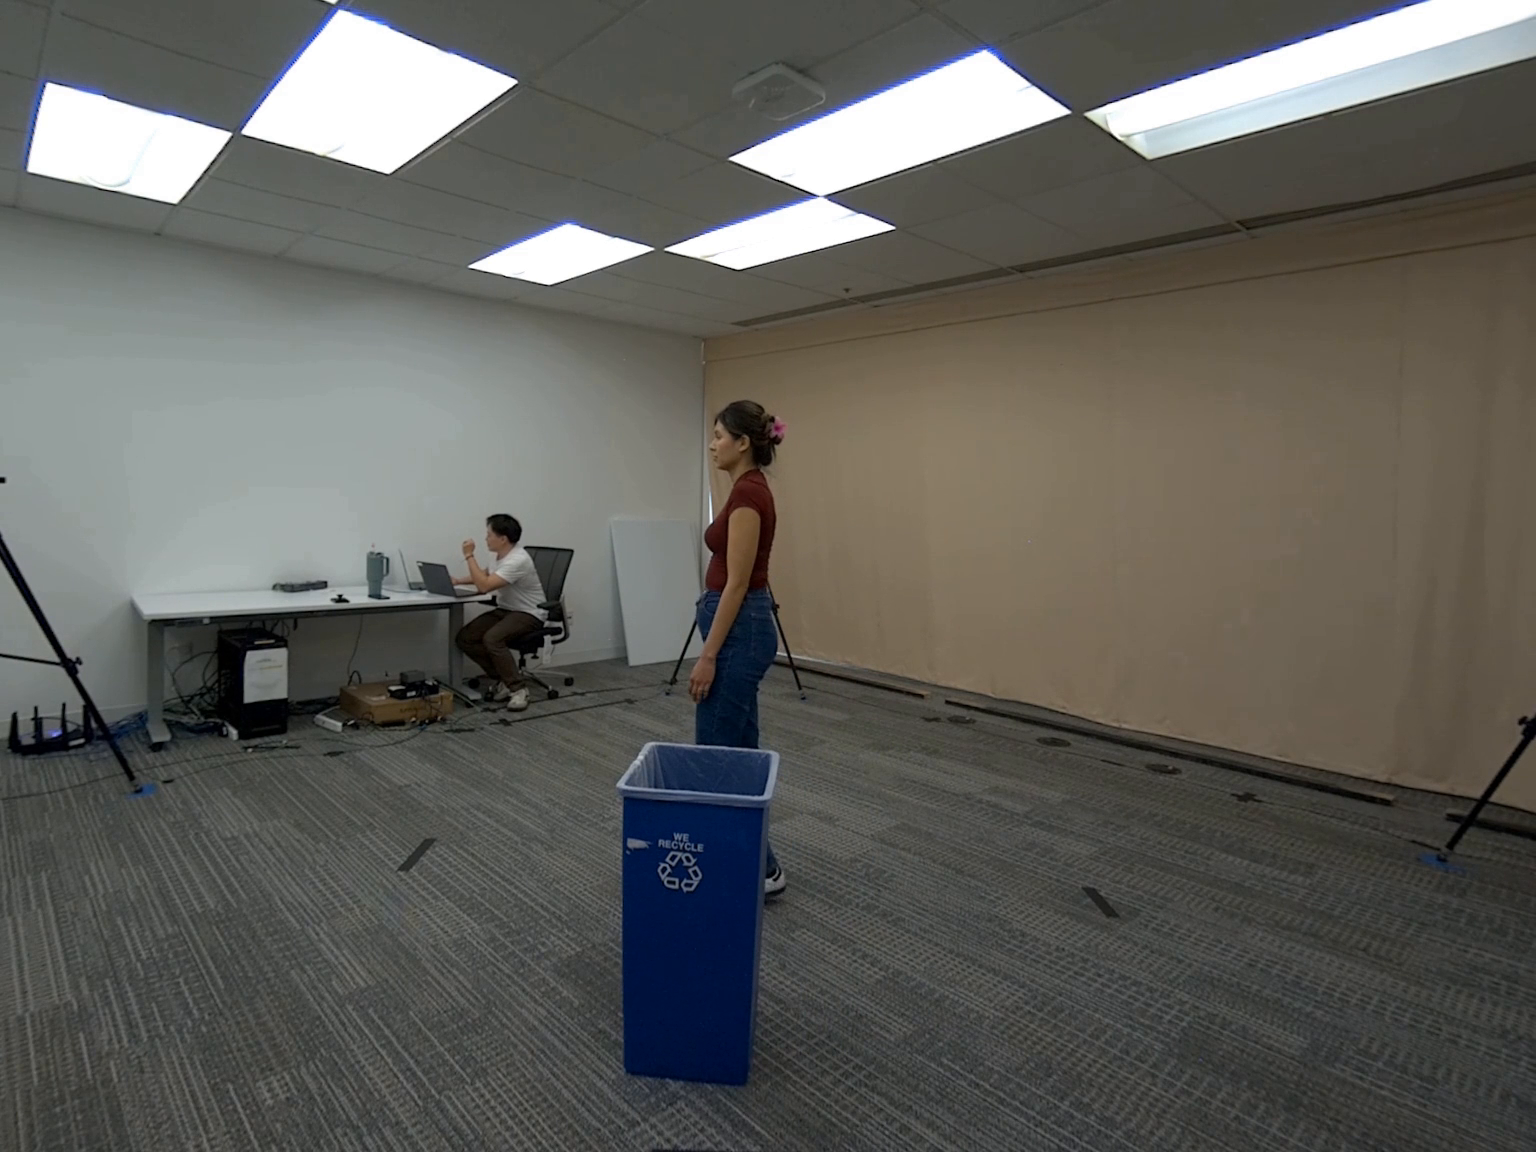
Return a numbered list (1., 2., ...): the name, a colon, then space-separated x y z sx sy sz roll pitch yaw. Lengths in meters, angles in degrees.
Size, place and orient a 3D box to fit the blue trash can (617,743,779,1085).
1. blue trash can: -0.178 0.839 2.131 0.376 0.712 0.377 2 4 5
